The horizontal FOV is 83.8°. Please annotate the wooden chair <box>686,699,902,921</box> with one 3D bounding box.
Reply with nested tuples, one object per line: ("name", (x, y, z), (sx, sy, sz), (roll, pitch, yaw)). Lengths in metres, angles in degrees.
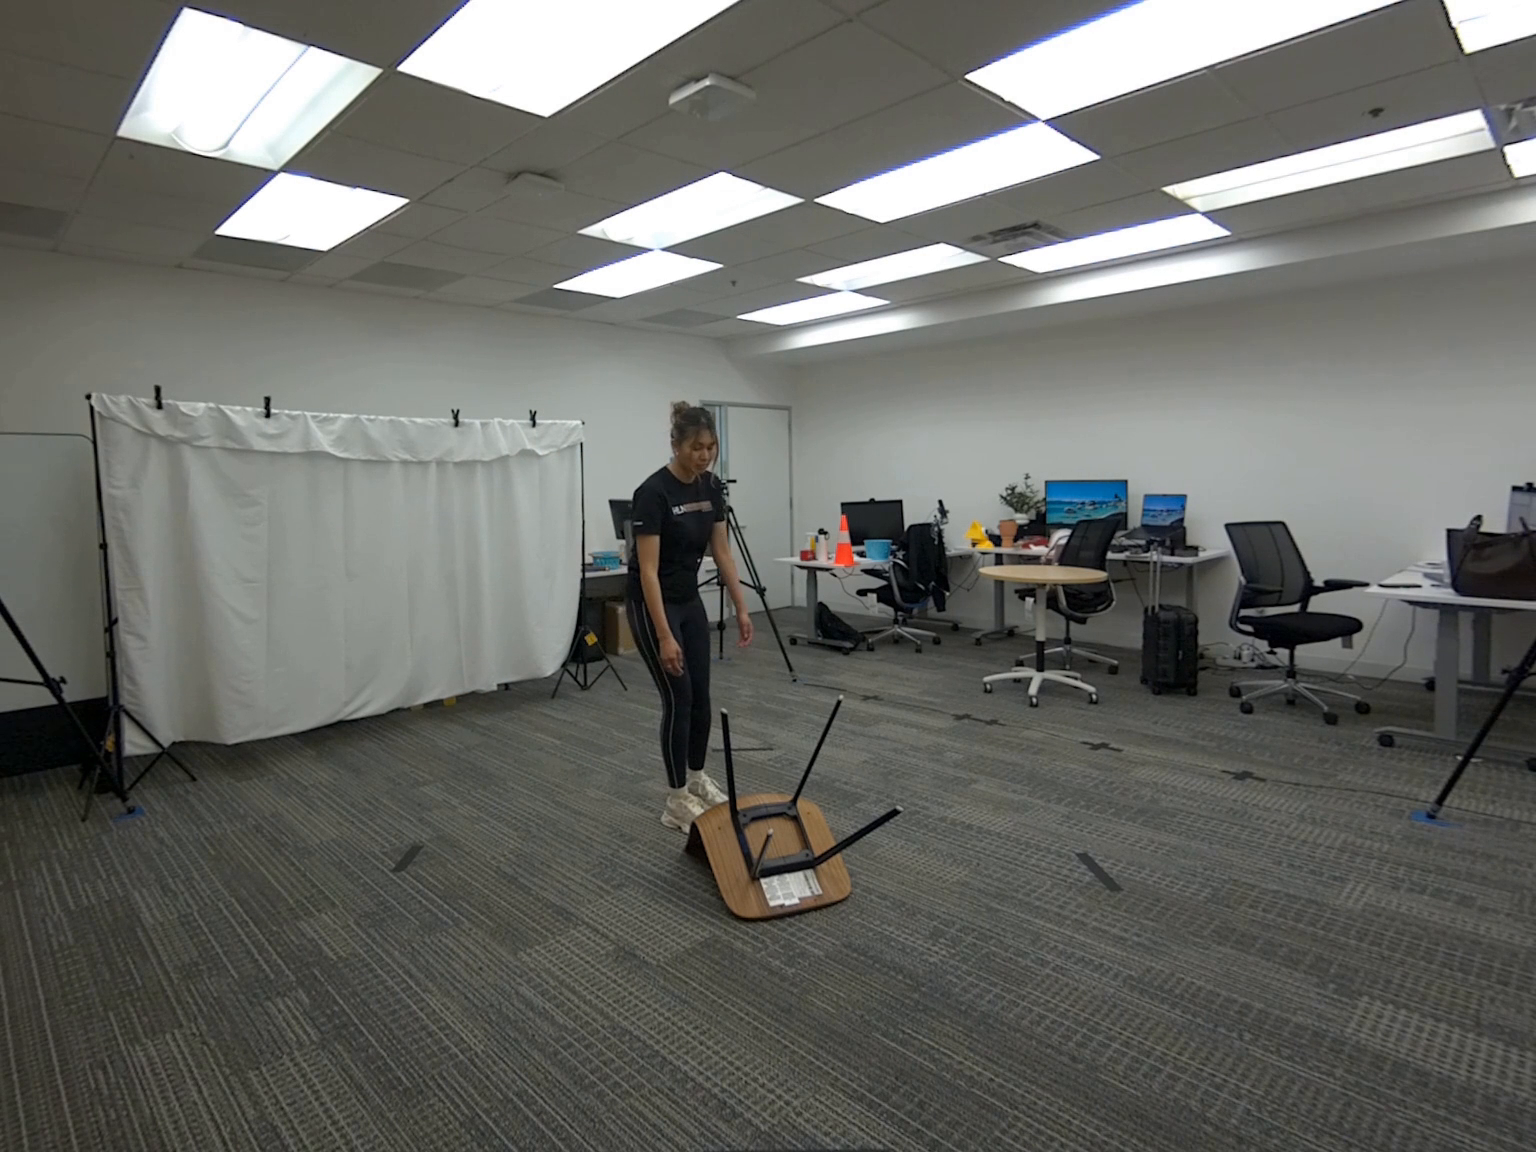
("wooden chair", (0.026, 0.896, 2.912), (0.468, 0.864, 0.542), (-2, 46, -25))
